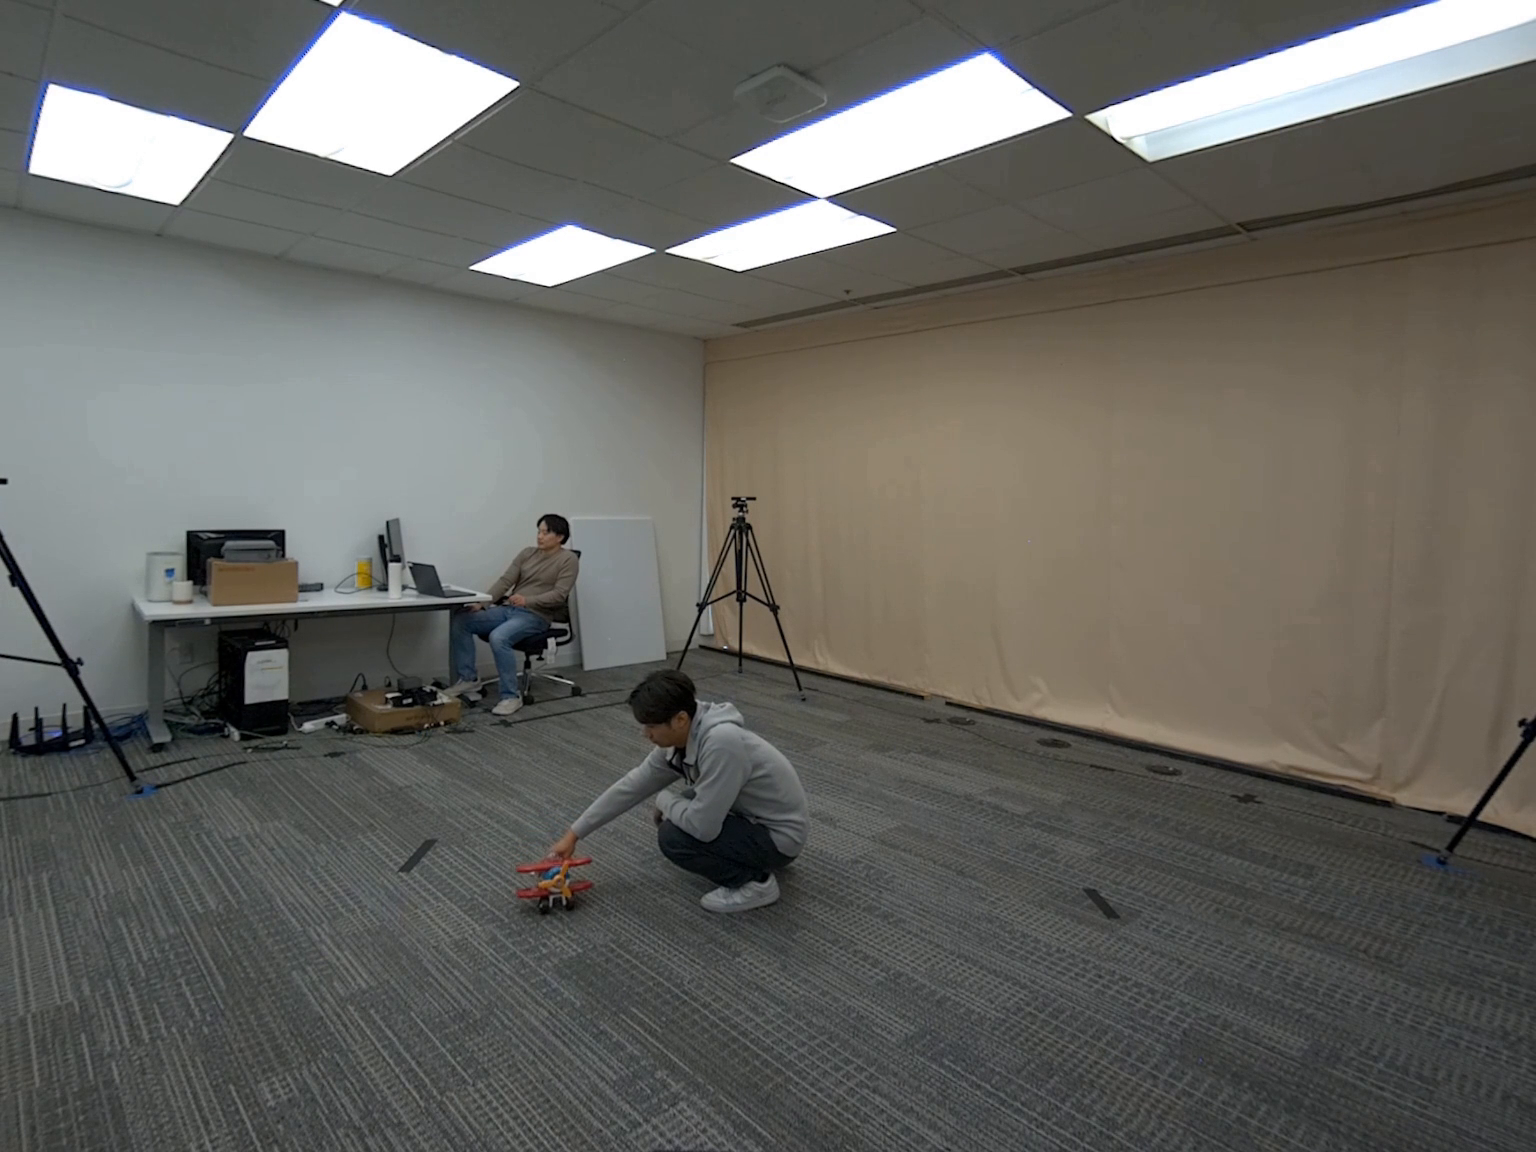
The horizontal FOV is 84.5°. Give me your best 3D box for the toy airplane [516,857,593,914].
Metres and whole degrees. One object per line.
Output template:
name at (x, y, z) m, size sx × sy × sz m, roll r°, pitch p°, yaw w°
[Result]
toy airplane at (-0.754, 1.036, 2.884) m, size 0.266 × 0.156 × 0.245 m, roll 5°, pitch 7°, yaw 43°
